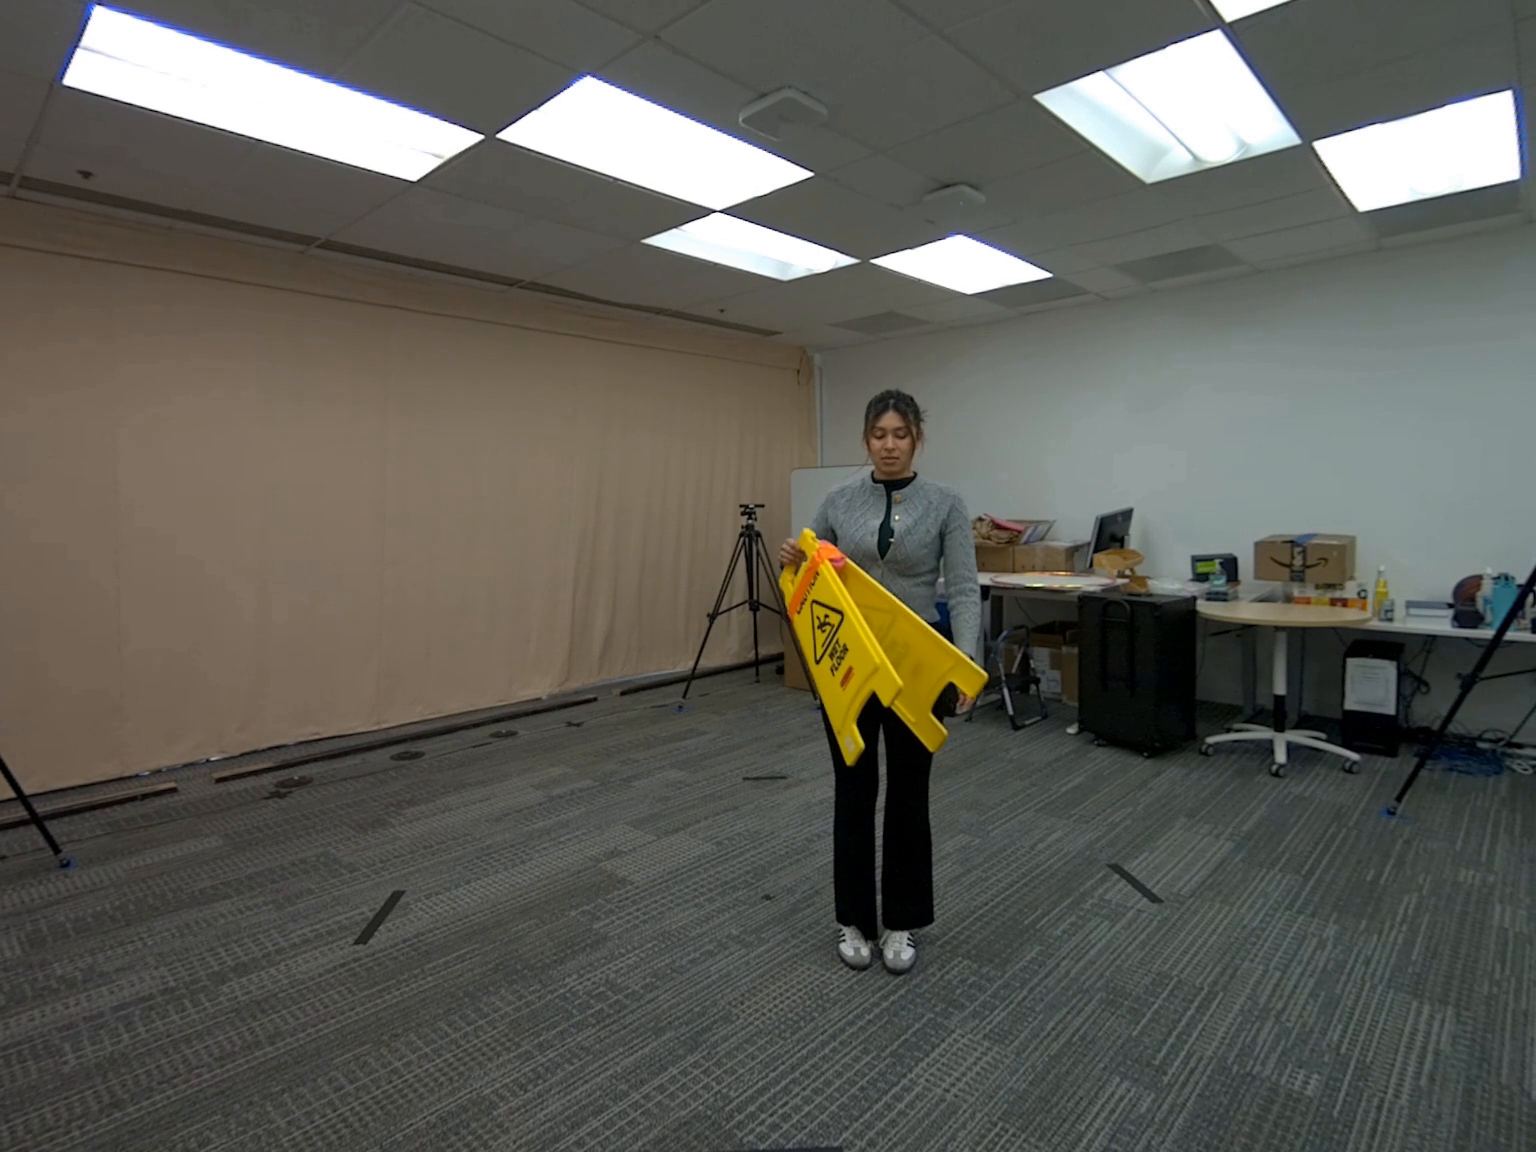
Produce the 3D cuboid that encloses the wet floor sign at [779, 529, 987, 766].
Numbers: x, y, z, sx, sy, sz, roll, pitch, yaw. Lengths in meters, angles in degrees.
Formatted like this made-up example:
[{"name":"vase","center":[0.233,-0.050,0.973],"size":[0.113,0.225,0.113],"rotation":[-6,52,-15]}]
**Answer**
[{"name":"wet floor sign","center":[0.219,0.145,2.224],"size":[0.281,0.281,0.668],"rotation":[-2,40,-34]}]
